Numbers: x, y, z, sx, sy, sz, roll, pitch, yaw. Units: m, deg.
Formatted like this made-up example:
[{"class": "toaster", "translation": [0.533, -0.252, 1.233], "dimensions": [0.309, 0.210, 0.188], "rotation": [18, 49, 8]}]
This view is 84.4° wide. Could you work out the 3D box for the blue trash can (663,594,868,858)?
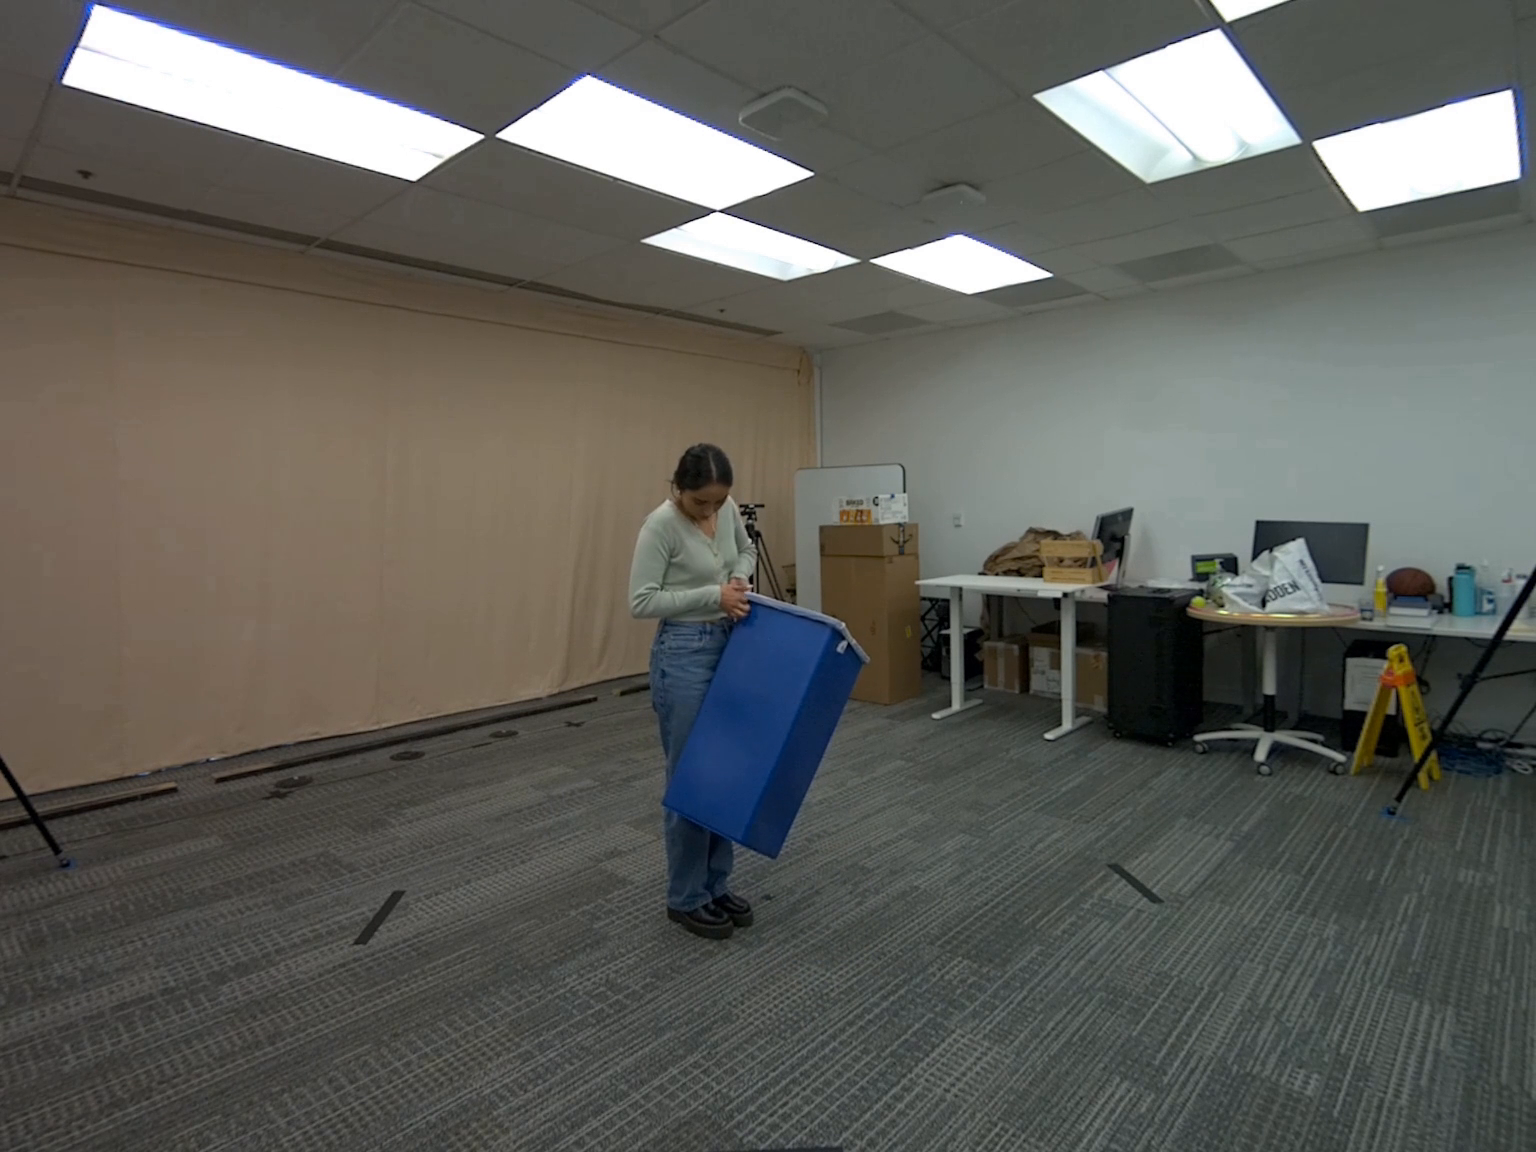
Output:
[{"class": "blue trash can", "translation": [-0.004, 0.472, 2.688], "dimensions": [0.386, 0.715, 0.365], "rotation": [15, -19, 30]}]
